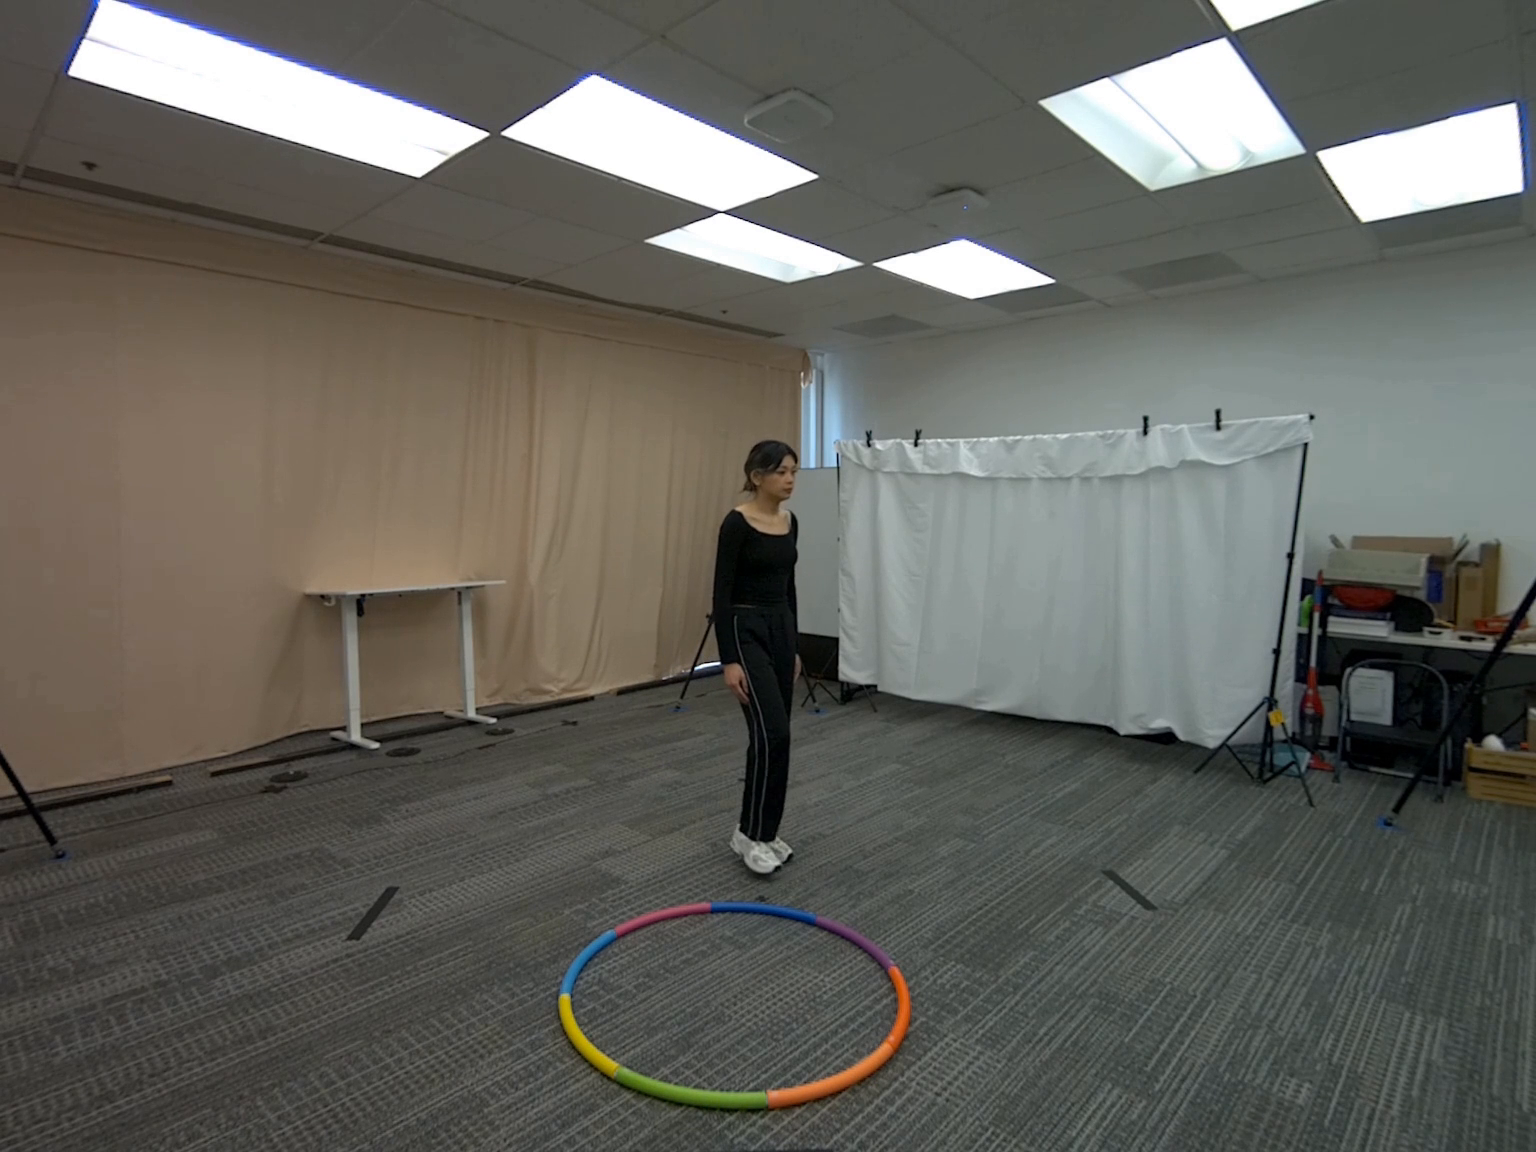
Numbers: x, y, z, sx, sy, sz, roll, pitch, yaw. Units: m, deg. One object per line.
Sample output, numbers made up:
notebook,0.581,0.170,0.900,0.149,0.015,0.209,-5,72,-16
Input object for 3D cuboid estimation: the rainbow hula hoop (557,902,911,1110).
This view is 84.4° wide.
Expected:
rainbow hula hoop,-0.096,1.163,2.423,0.978,0.035,0.982,0,4,-2
